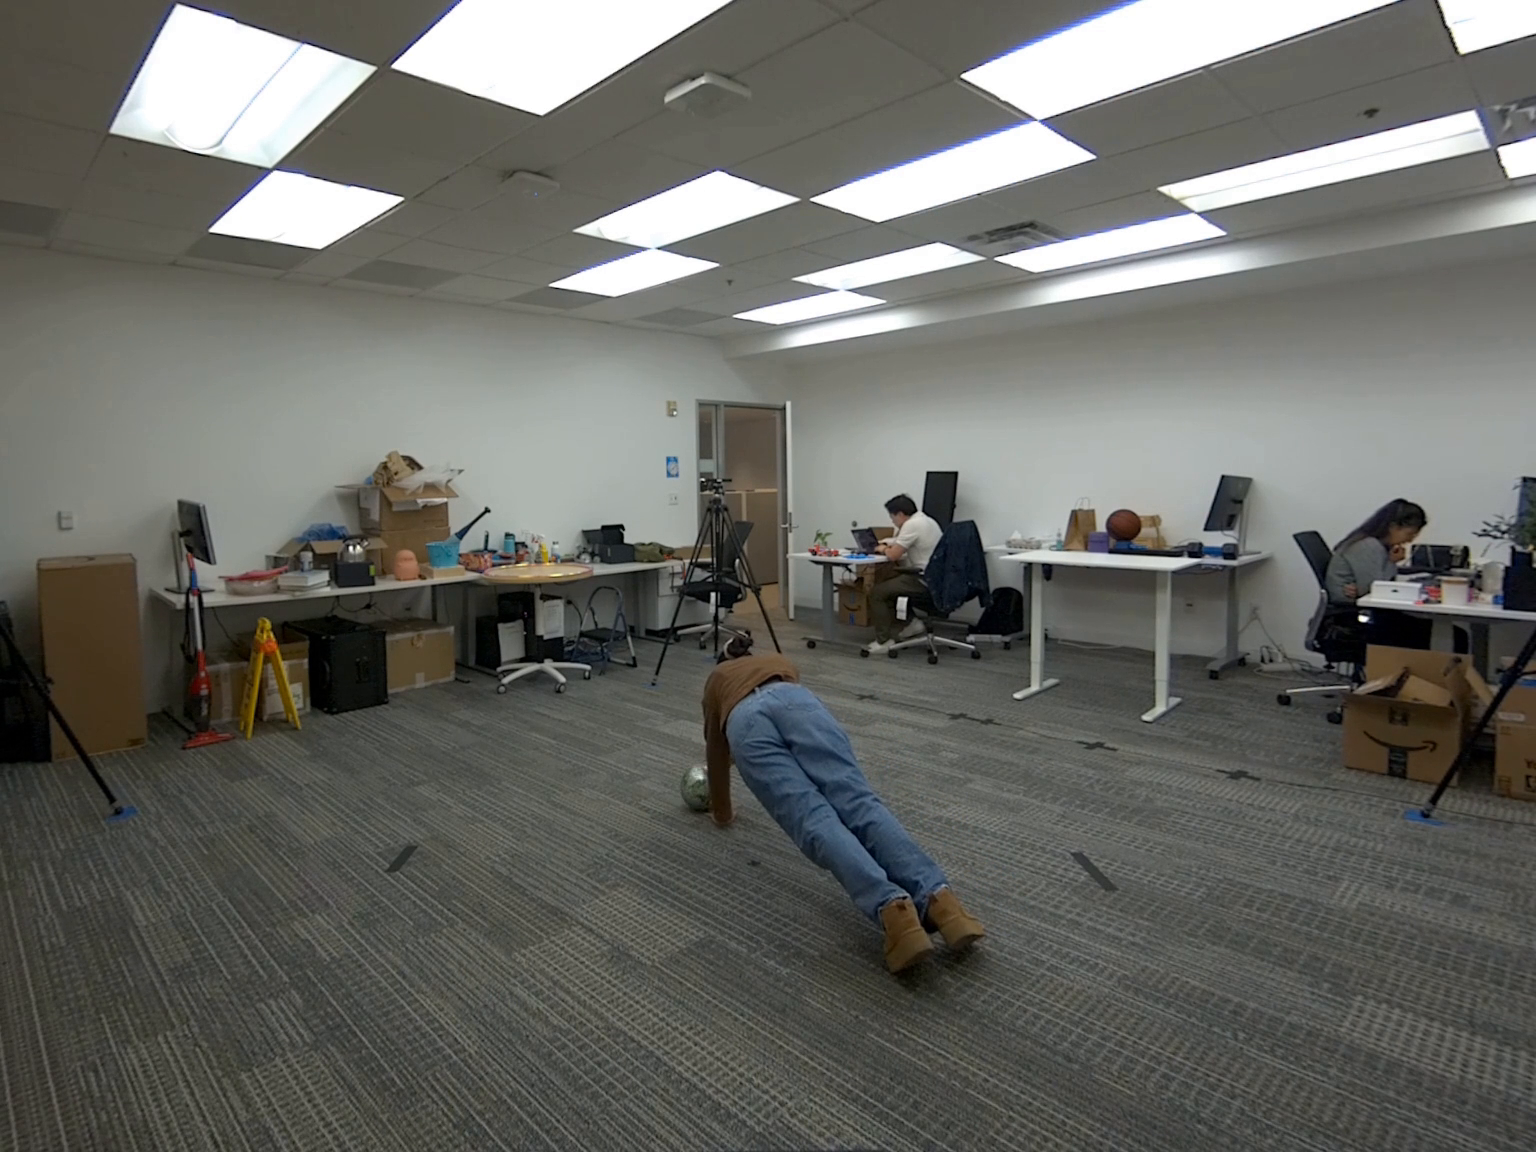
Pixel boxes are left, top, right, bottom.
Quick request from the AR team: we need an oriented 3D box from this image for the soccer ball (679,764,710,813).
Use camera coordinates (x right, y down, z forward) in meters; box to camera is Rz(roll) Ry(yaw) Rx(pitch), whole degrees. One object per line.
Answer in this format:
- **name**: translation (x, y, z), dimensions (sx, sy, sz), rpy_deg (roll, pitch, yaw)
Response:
- **soccer ball**: translation (-0.281, 0.900, 3.627), dimensions (0.187, 0.187, 0.188), rpy_deg (-1, 5, -2)
